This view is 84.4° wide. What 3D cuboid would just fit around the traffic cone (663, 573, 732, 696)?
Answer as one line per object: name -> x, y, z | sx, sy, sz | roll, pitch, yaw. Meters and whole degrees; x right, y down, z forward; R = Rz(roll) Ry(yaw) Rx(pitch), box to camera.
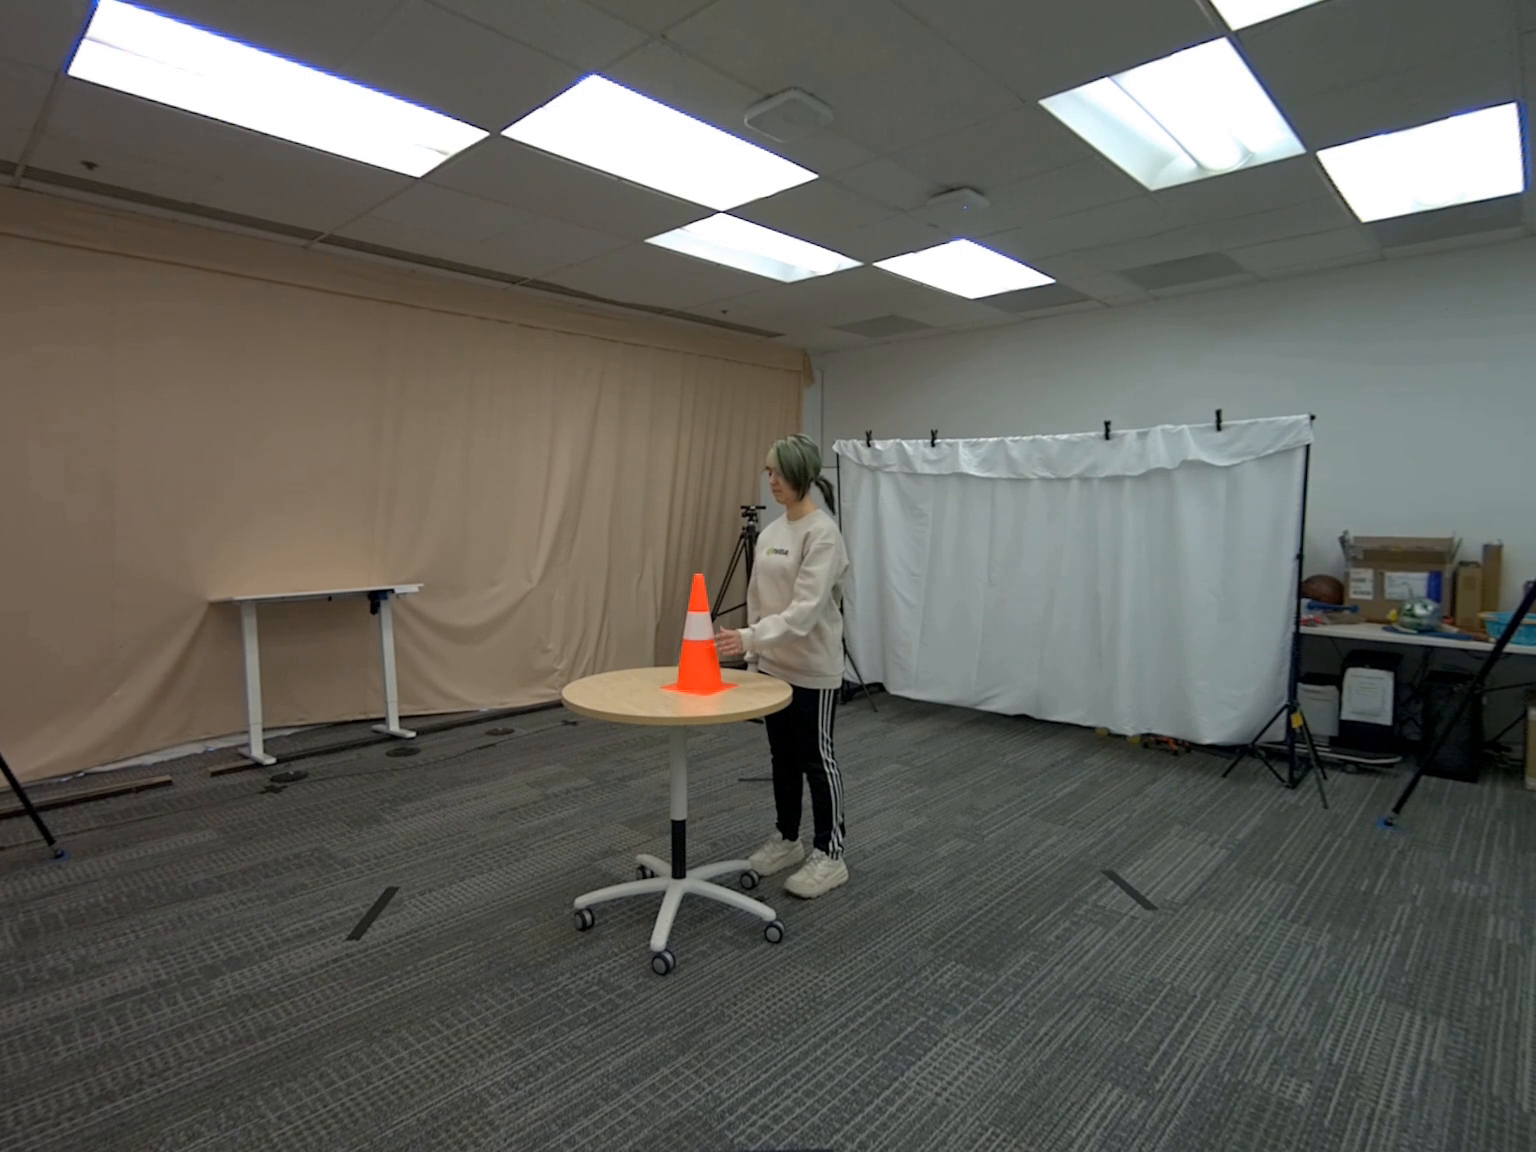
traffic cone -> -0.232, 0.187, 2.832 | 0.211, 0.383, 0.198 | 1, 2, 32
